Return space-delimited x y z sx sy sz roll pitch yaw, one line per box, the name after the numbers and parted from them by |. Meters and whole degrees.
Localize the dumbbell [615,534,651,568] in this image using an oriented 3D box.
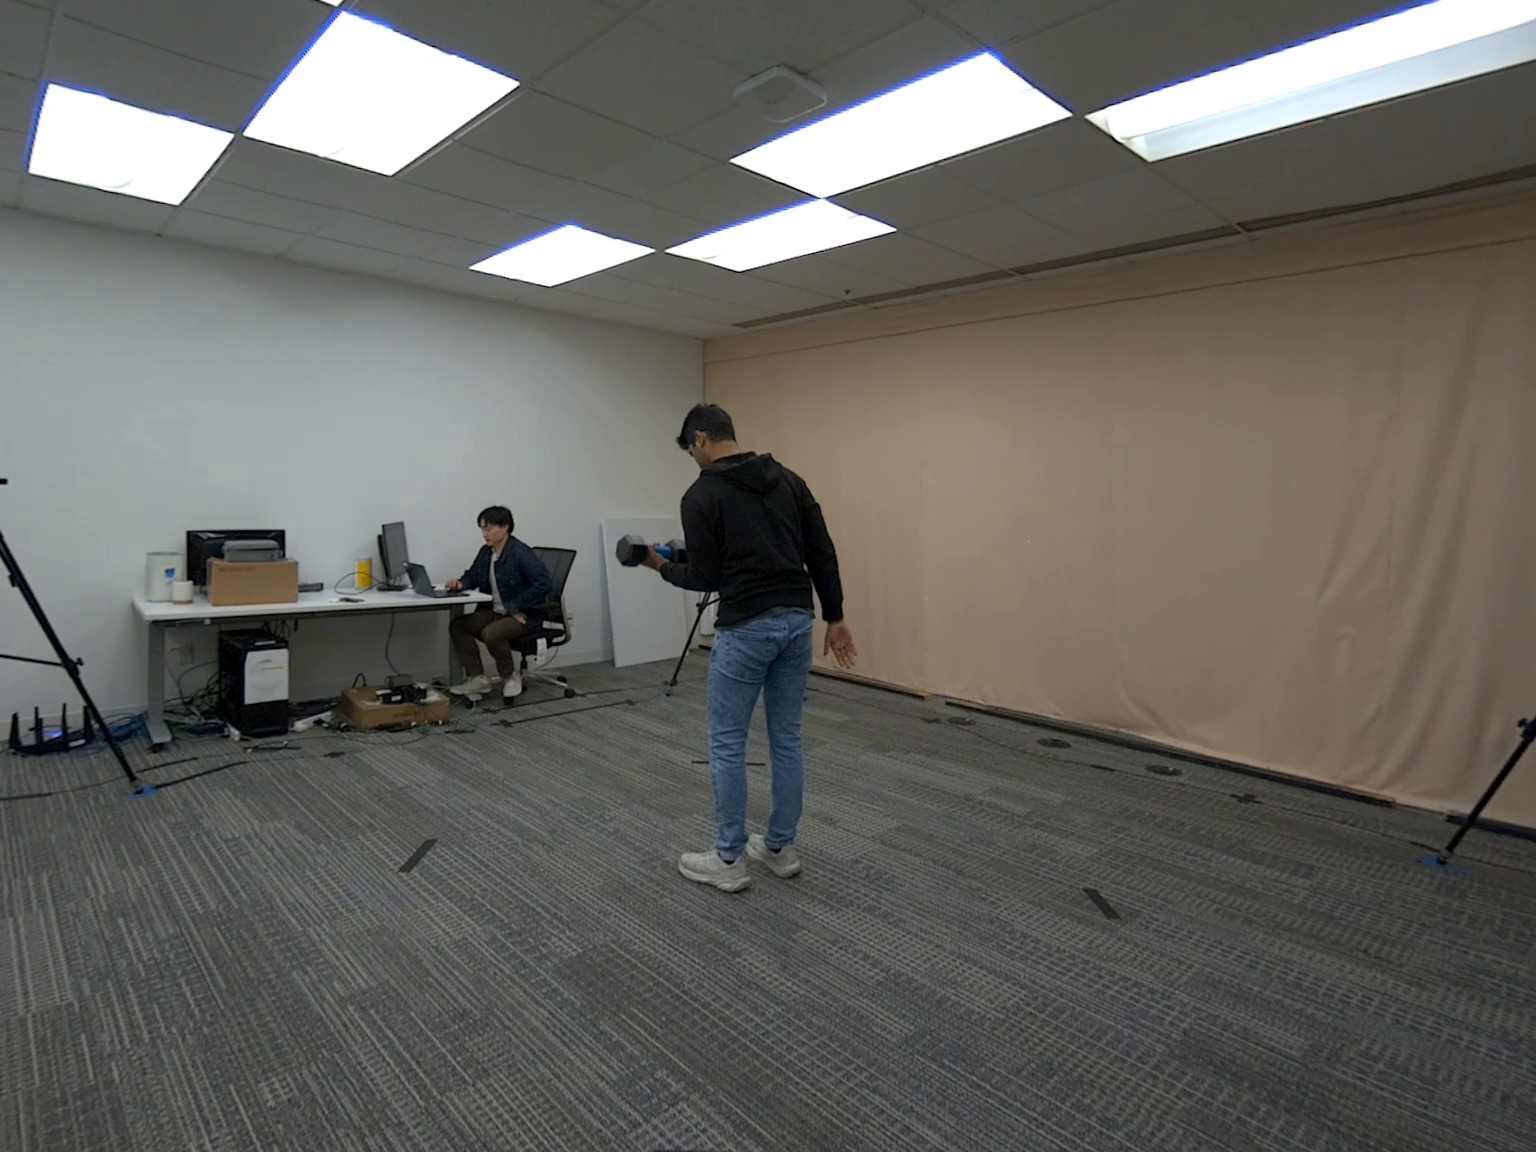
-0.427 -0.079 3.220 0.286 0.108 0.127 6 33 -41 | dumbbell
